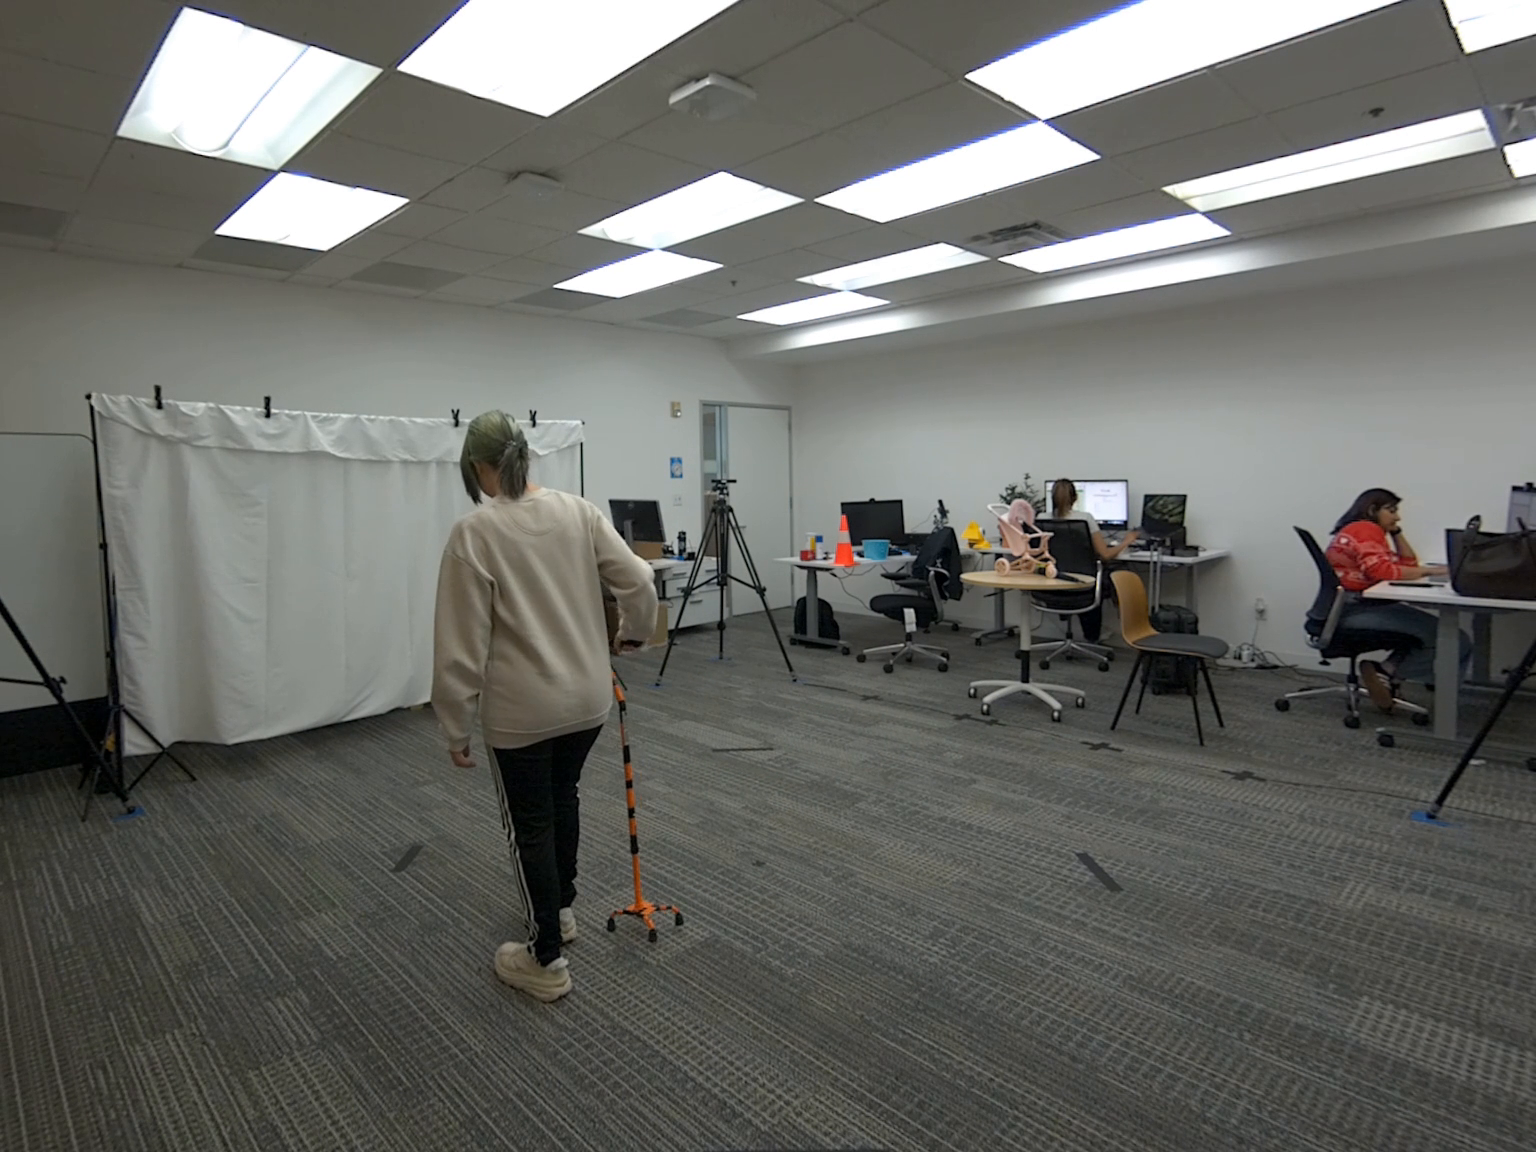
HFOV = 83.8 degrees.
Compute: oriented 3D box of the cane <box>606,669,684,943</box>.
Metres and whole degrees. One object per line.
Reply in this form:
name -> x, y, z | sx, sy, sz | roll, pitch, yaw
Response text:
cane -> -0.416, 0.639, 2.678 | 0.212, 0.908, 0.147 | -5, -1, 36
